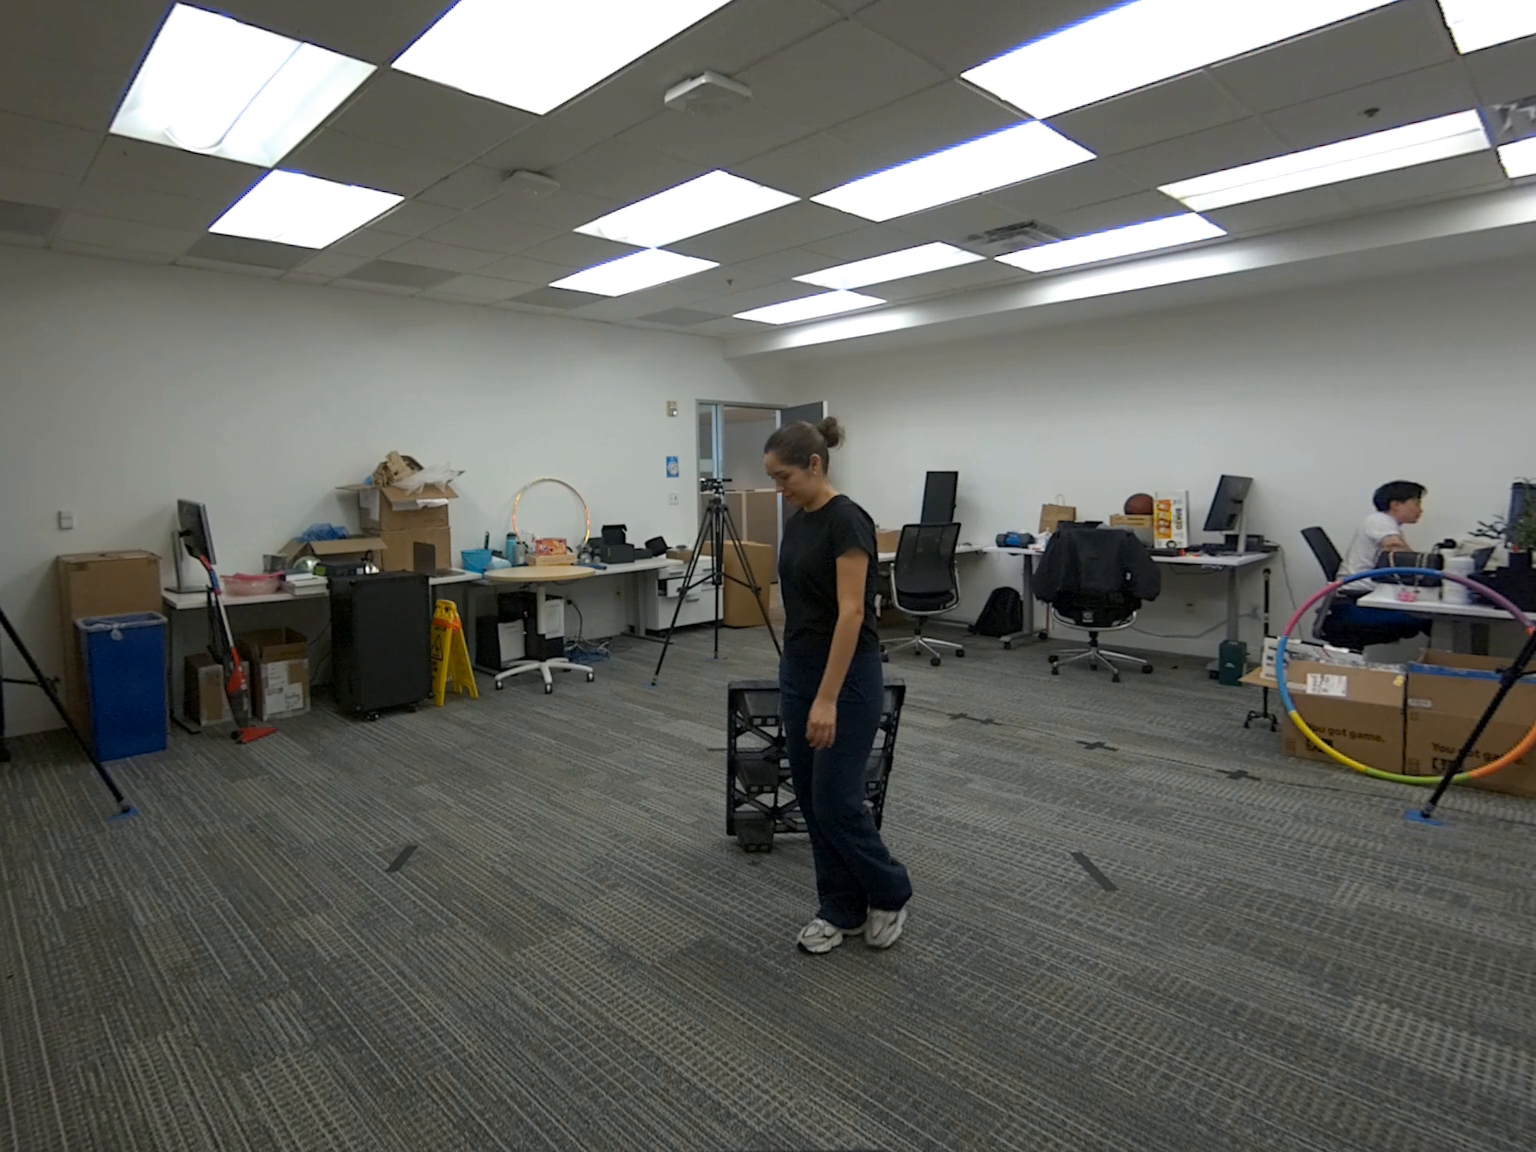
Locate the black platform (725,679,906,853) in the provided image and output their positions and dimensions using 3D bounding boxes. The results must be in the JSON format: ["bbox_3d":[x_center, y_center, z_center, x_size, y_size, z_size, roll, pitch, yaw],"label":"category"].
[{"bbox_3d":[0.148,0.698,3.059,0.603,0.785,0.147,-1,35,-3],"label":"black platform"}]
